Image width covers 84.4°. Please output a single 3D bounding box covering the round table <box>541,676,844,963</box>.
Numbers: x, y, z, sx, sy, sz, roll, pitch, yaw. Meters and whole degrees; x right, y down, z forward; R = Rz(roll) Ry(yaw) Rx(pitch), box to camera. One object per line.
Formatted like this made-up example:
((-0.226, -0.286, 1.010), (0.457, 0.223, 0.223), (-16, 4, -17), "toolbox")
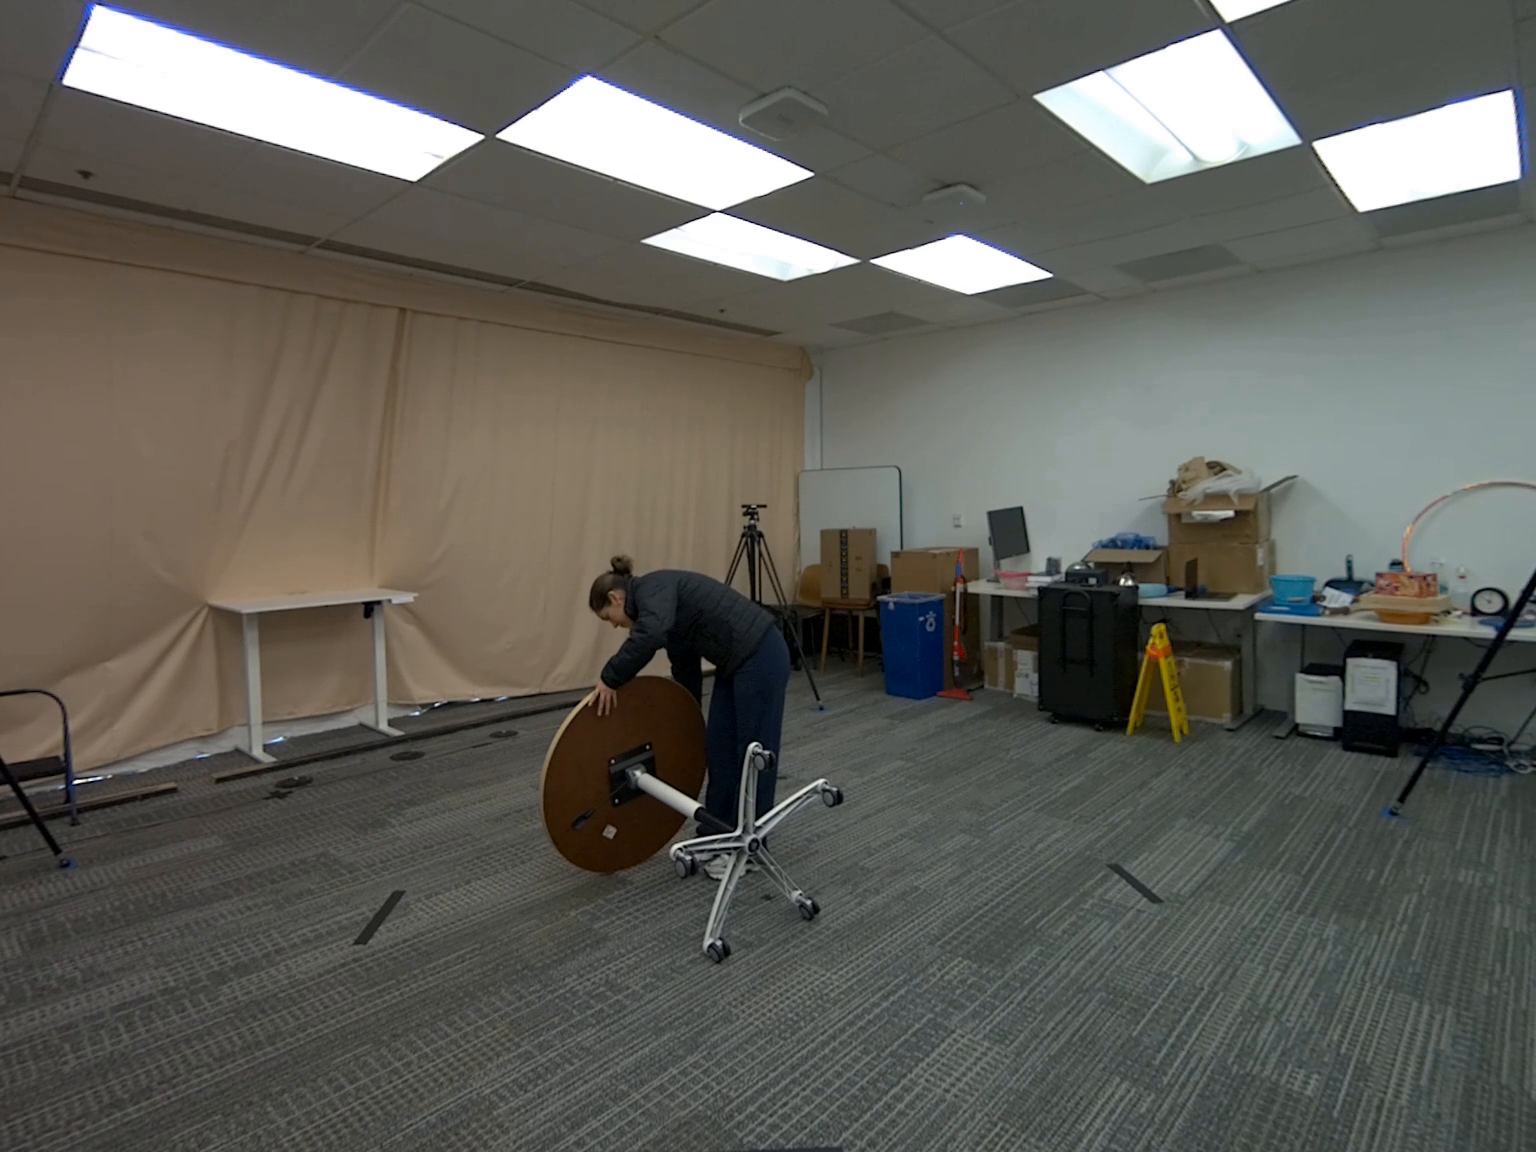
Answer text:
((-0.253, 0.816, 2.921), (0.761, 0.781, 0.814), (-4, 11, -42), "round table")
